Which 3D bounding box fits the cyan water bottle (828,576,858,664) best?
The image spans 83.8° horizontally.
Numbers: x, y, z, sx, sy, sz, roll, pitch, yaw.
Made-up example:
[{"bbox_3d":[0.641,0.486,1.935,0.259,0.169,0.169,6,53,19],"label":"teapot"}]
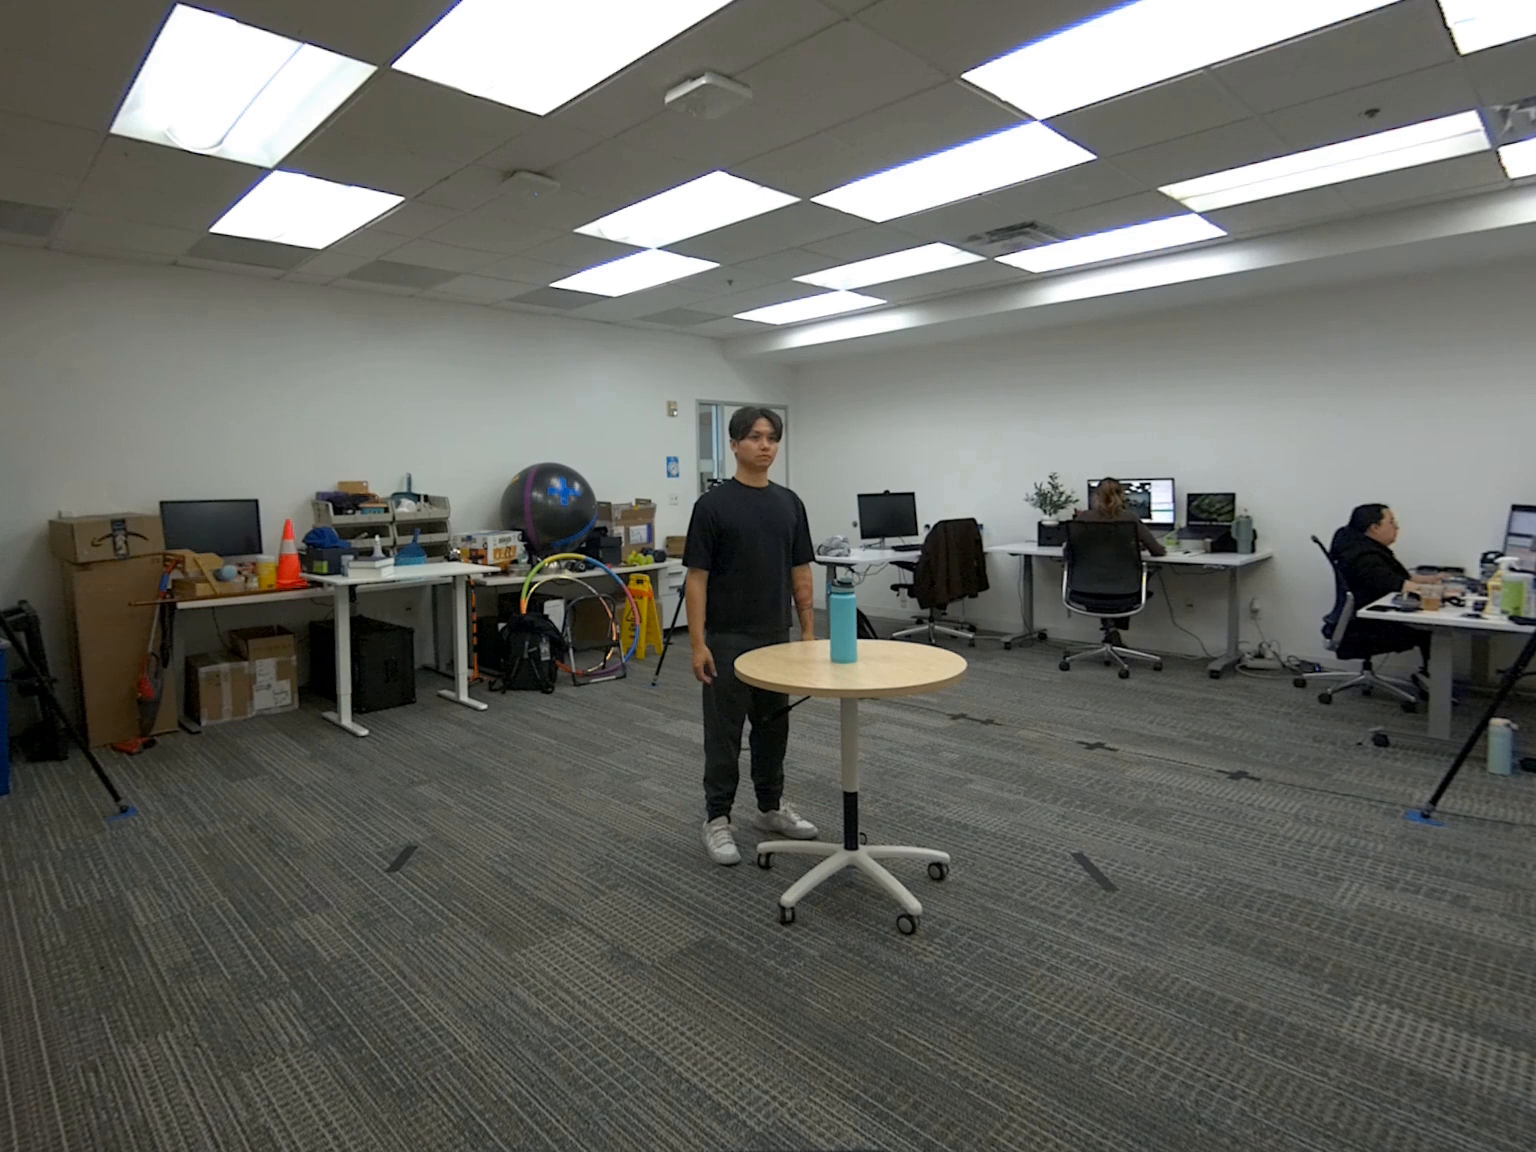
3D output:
[{"bbox_3d":[0.251,0.146,2.864,0.092,0.283,0.092,-4,2,-1],"label":"cyan water bottle"}]
